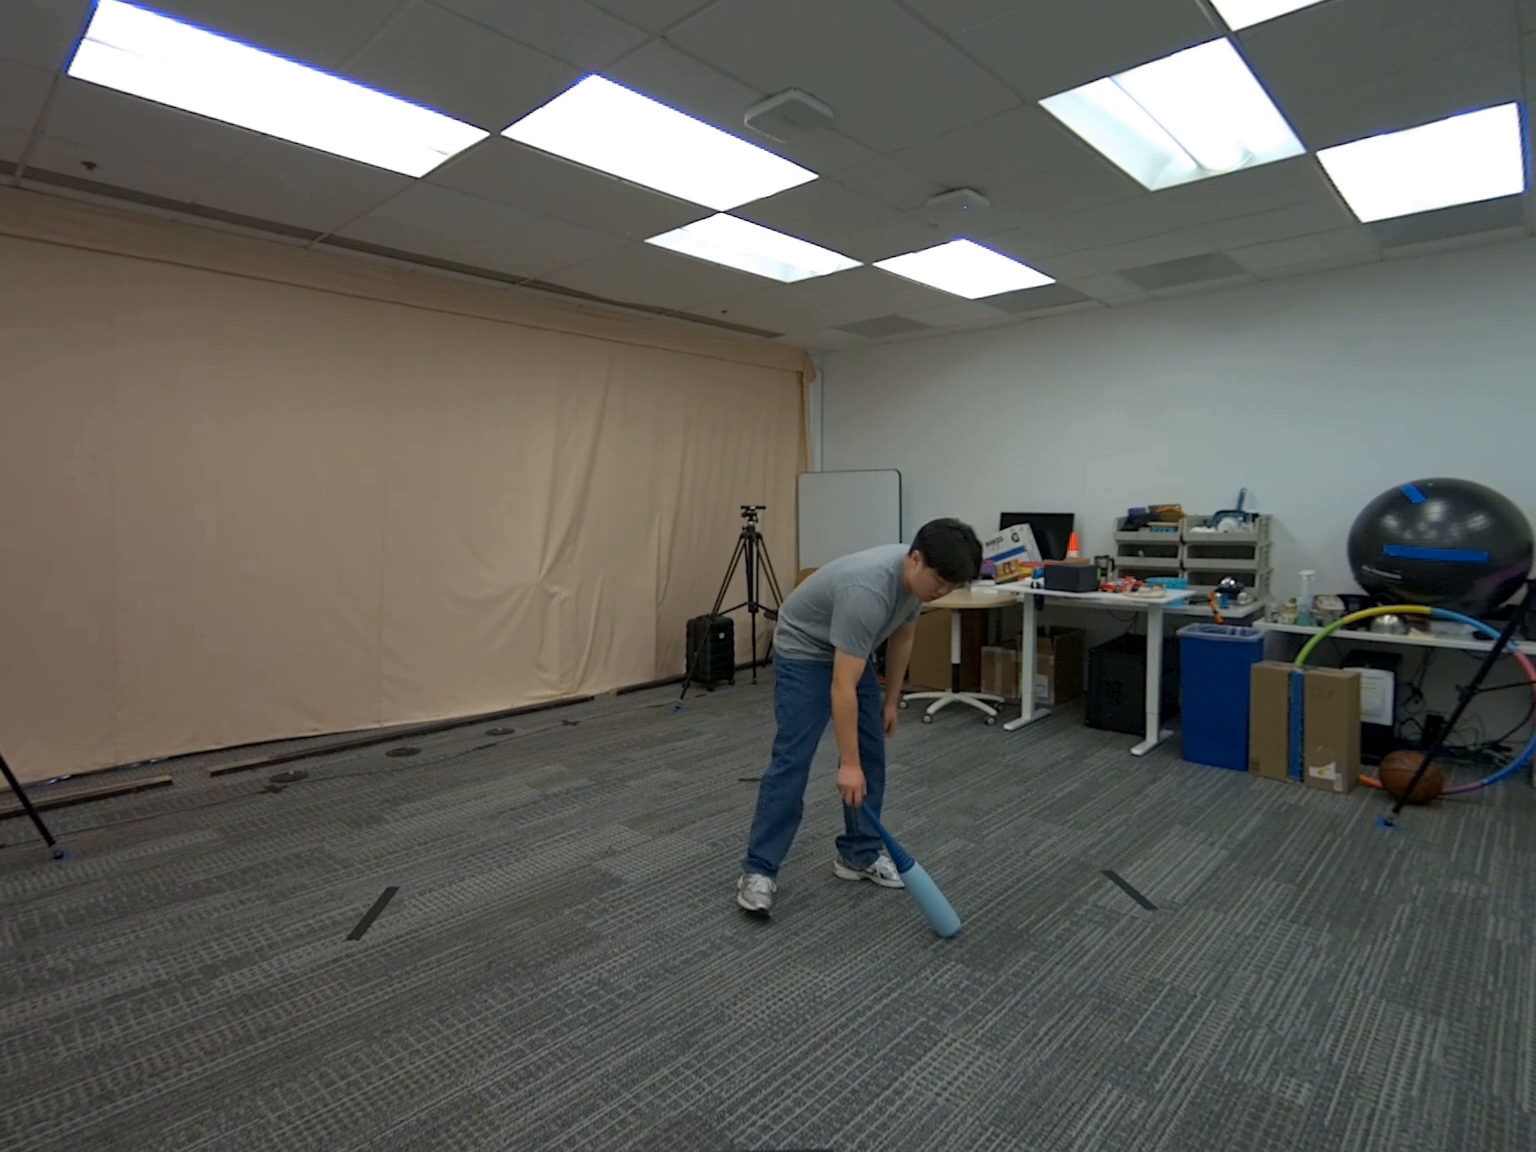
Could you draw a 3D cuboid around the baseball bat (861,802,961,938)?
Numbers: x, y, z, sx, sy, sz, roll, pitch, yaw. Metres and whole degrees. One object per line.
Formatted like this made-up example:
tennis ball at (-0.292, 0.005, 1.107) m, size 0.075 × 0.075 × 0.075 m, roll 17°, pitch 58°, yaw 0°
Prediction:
baseball bat at (0.439, 0.923, 2.723) m, size 0.089 × 0.542 × 0.089 m, roll -34°, pitch 1°, yaw 0°
